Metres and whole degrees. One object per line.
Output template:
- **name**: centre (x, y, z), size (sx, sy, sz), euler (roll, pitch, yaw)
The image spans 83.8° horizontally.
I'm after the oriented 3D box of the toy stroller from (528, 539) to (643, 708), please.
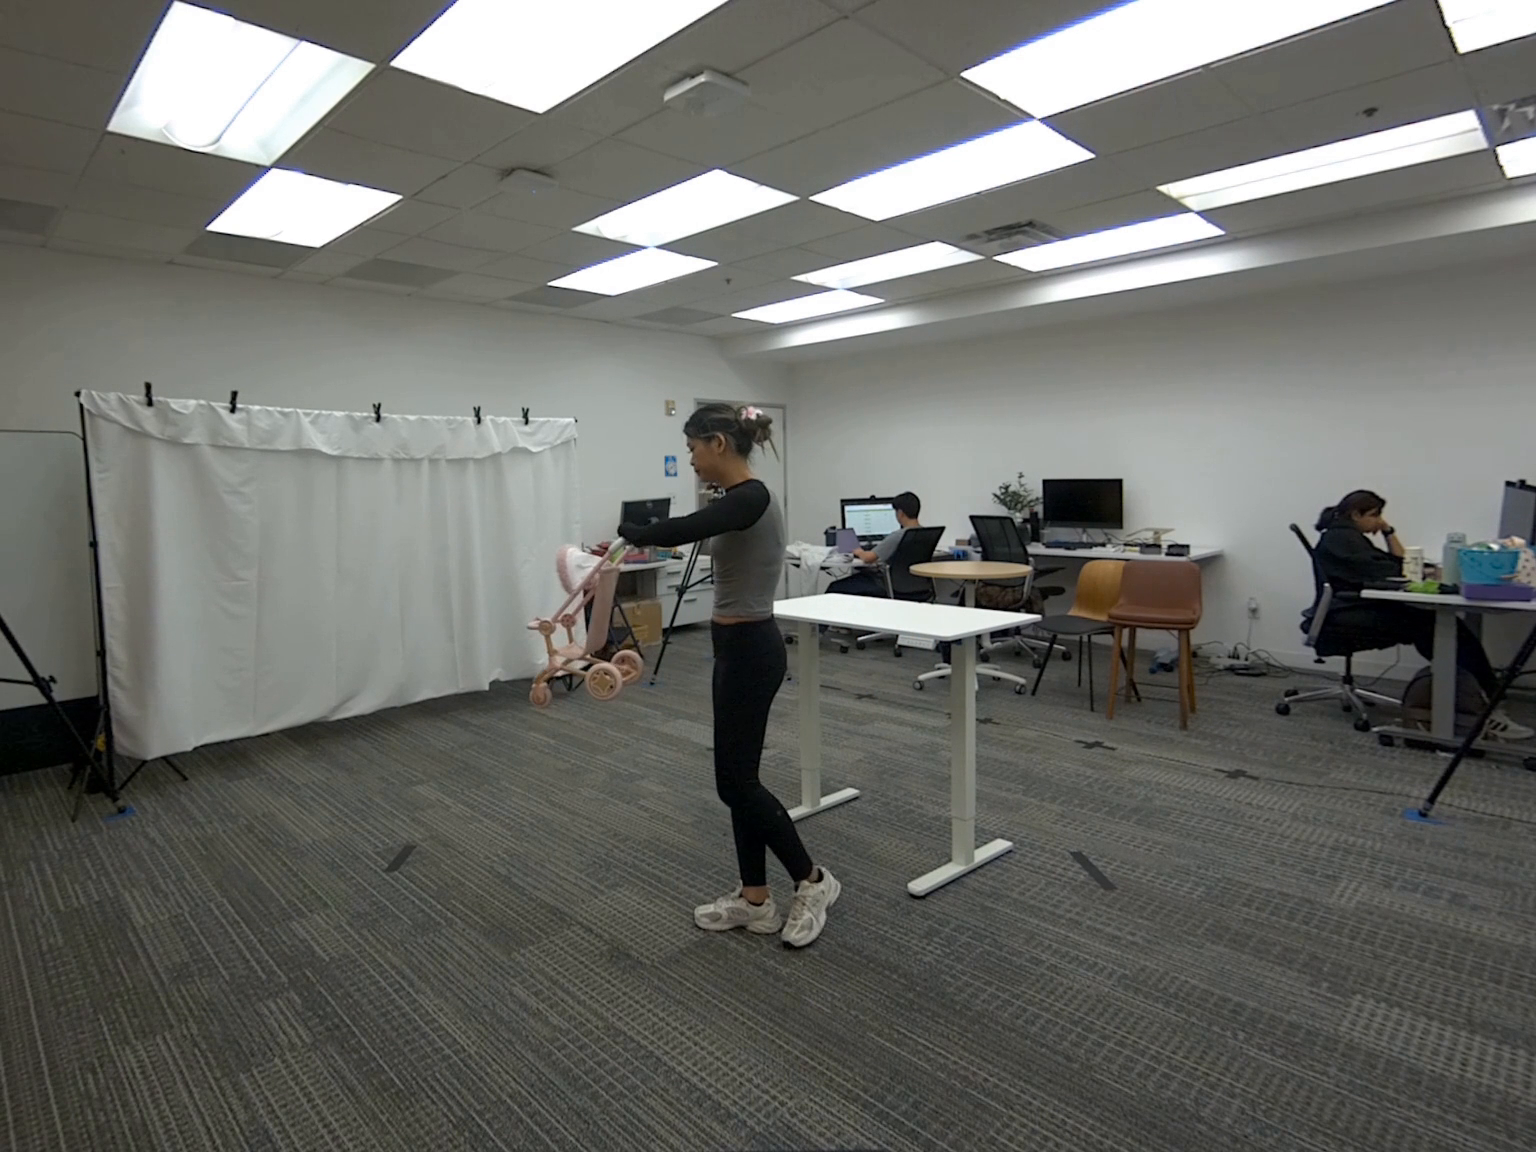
- **toy stroller**: centre (-0.563, 0.141, 2.578), size (0.346, 0.534, 0.278), euler (0, 1, 13)
